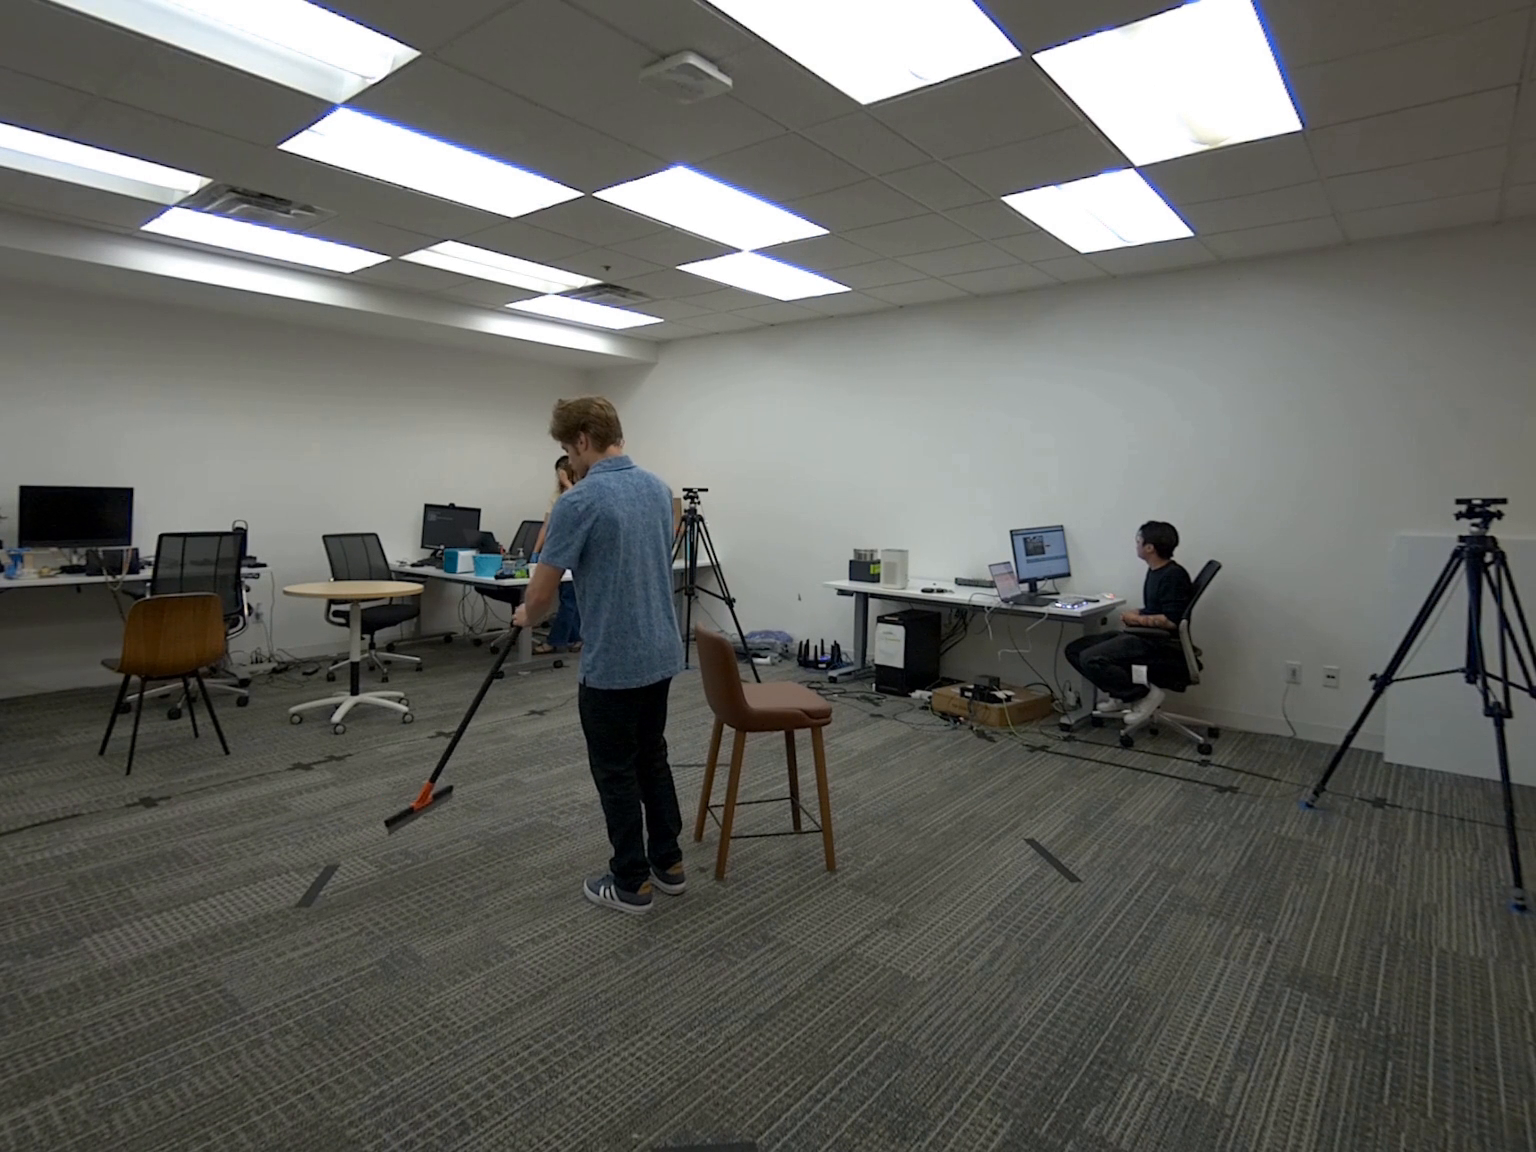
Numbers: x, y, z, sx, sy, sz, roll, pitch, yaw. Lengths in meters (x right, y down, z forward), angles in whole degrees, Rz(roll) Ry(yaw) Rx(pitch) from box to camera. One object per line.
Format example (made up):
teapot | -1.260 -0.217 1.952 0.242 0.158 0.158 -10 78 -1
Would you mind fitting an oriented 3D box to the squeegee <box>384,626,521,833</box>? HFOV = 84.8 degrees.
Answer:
squeegee | -0.931 0.204 3.017 0.053 1.535 0.434 29 4 4
